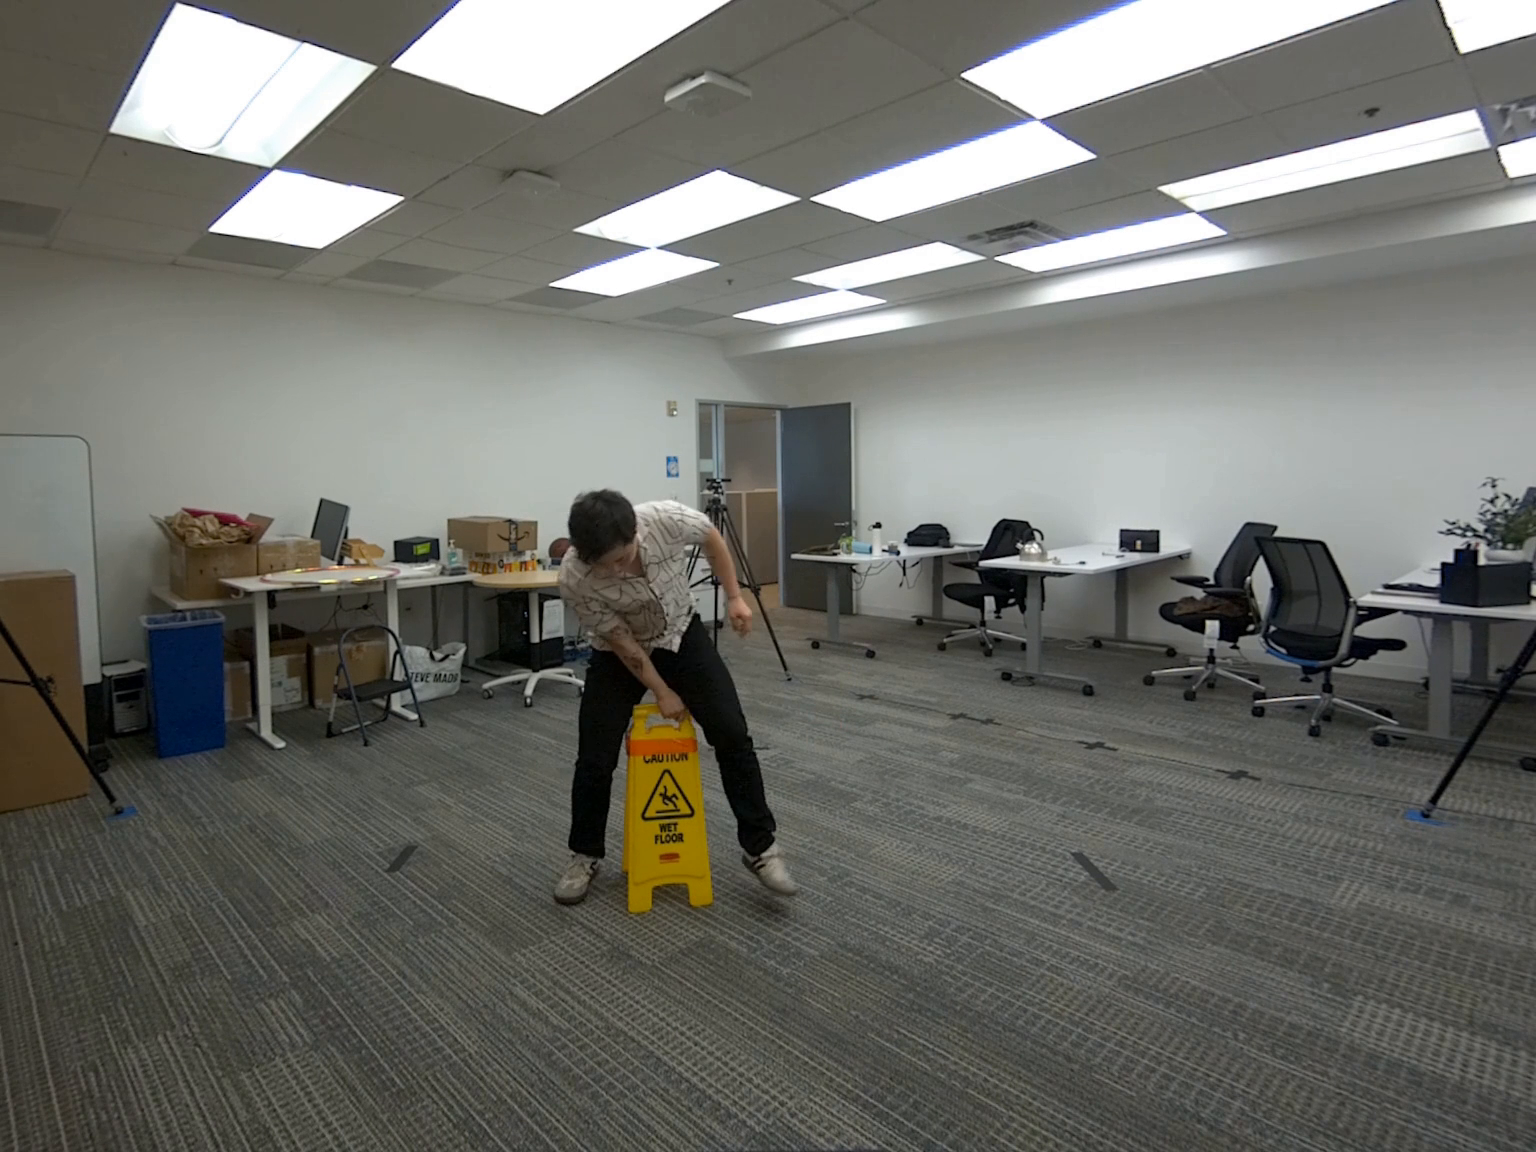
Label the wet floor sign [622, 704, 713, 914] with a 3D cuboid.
[{"bbox_3d":[-0.353,0.749,2.917,0.279,0.643,0.294,-2,5,-13],"label":"wet floor sign"}]
